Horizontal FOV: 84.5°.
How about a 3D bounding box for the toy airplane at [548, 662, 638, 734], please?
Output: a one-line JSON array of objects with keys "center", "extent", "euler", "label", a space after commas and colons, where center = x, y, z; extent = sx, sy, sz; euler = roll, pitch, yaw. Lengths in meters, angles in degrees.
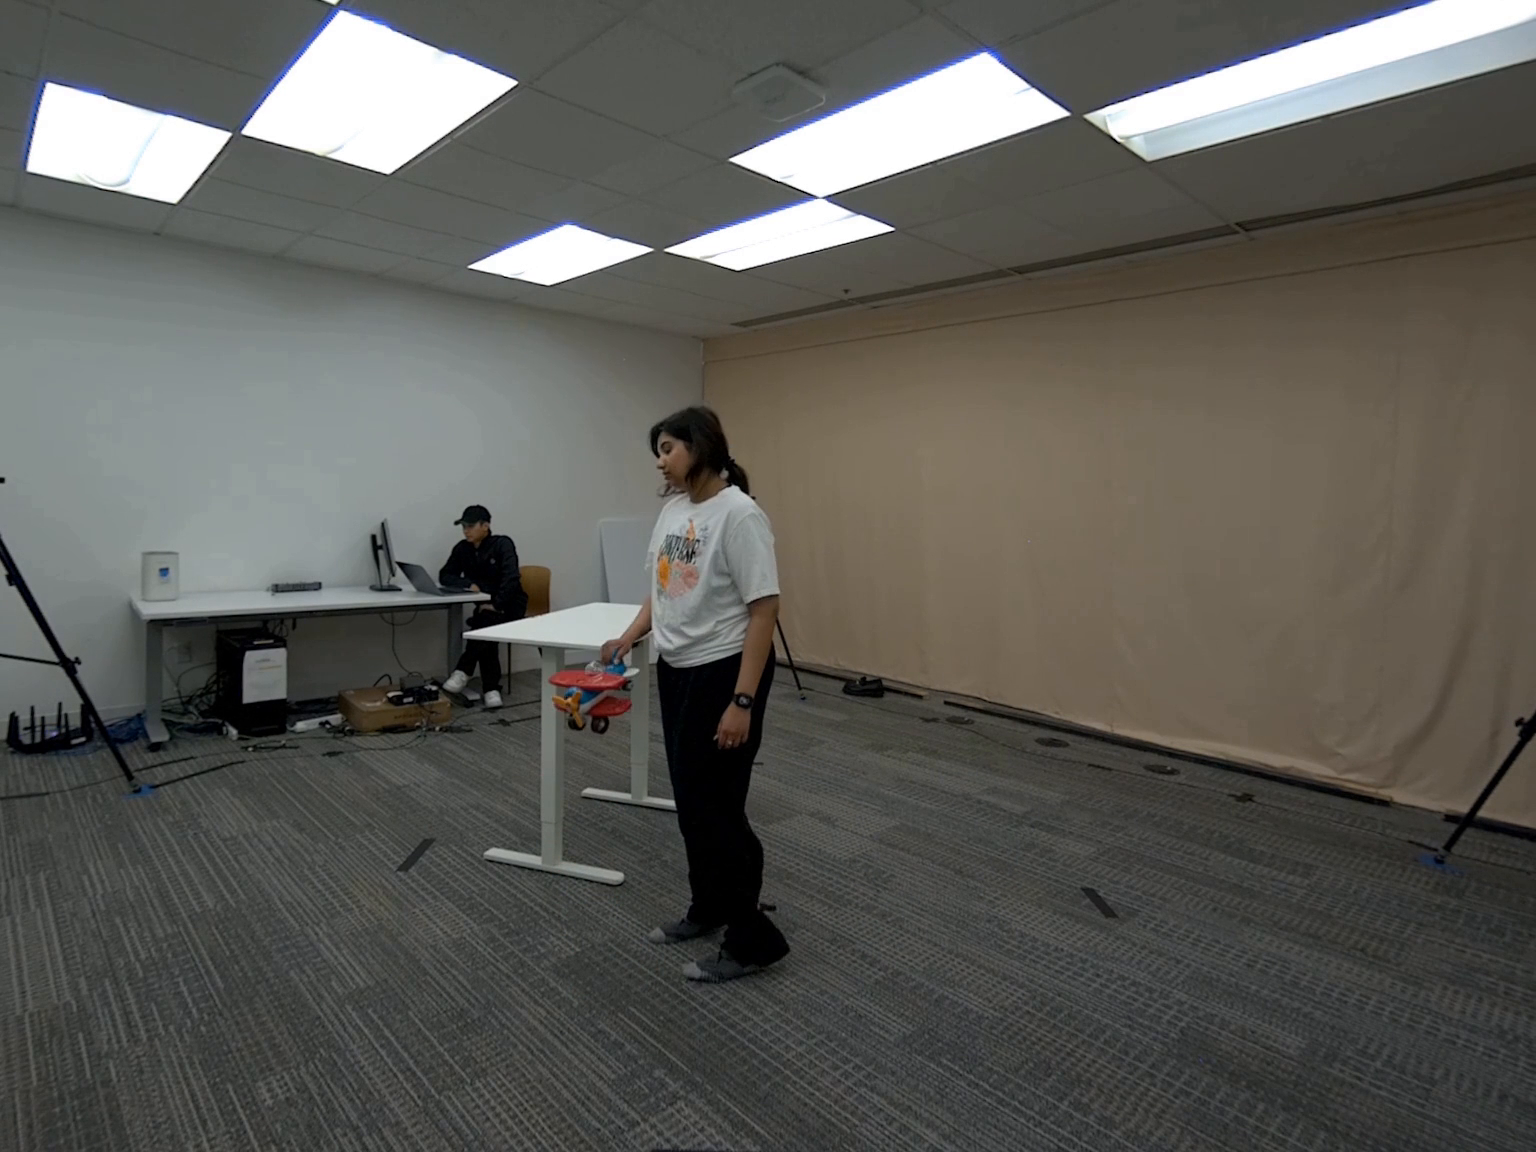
[{"center": [-0.506, 0.332, 2.441], "extent": [0.252, 0.153, 0.264], "euler": [-15, 28, 6], "label": "toy airplane"}]
